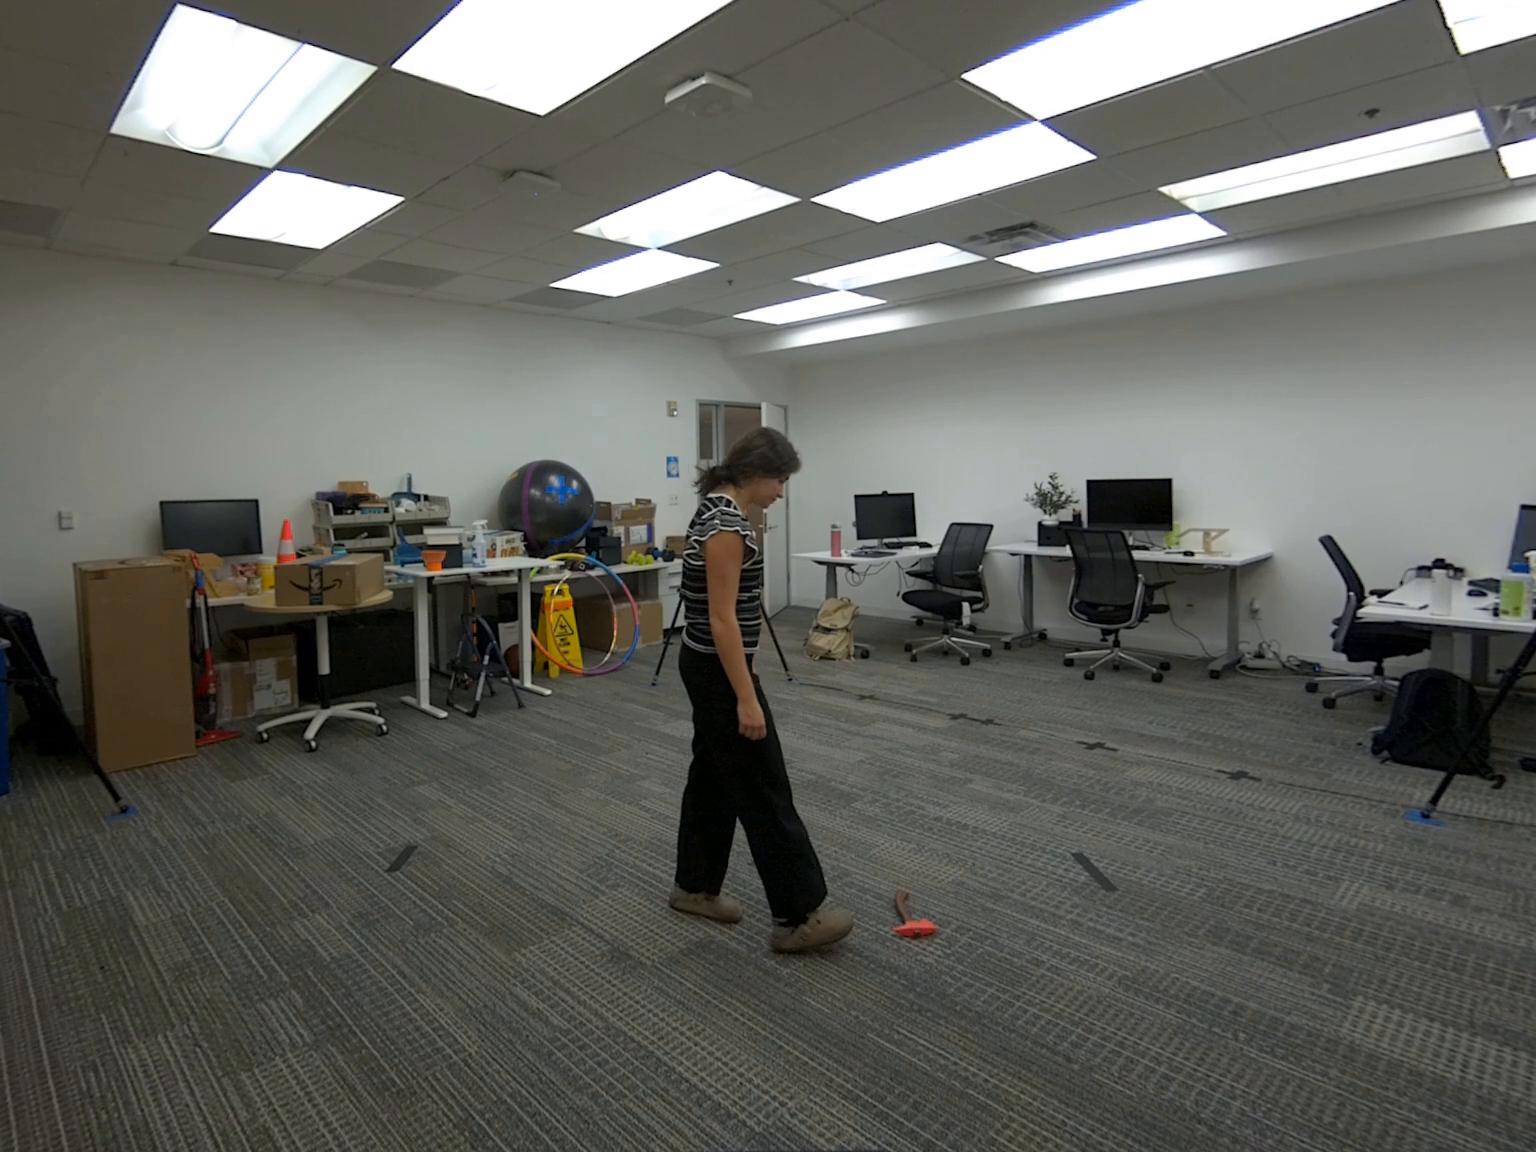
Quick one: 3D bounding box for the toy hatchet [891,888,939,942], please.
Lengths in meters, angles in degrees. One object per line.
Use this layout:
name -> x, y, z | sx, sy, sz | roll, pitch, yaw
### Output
toy hatchet -> 0.467, 1.066, 2.707 | 0.132, 0.029, 0.268 | -1, 6, 10
